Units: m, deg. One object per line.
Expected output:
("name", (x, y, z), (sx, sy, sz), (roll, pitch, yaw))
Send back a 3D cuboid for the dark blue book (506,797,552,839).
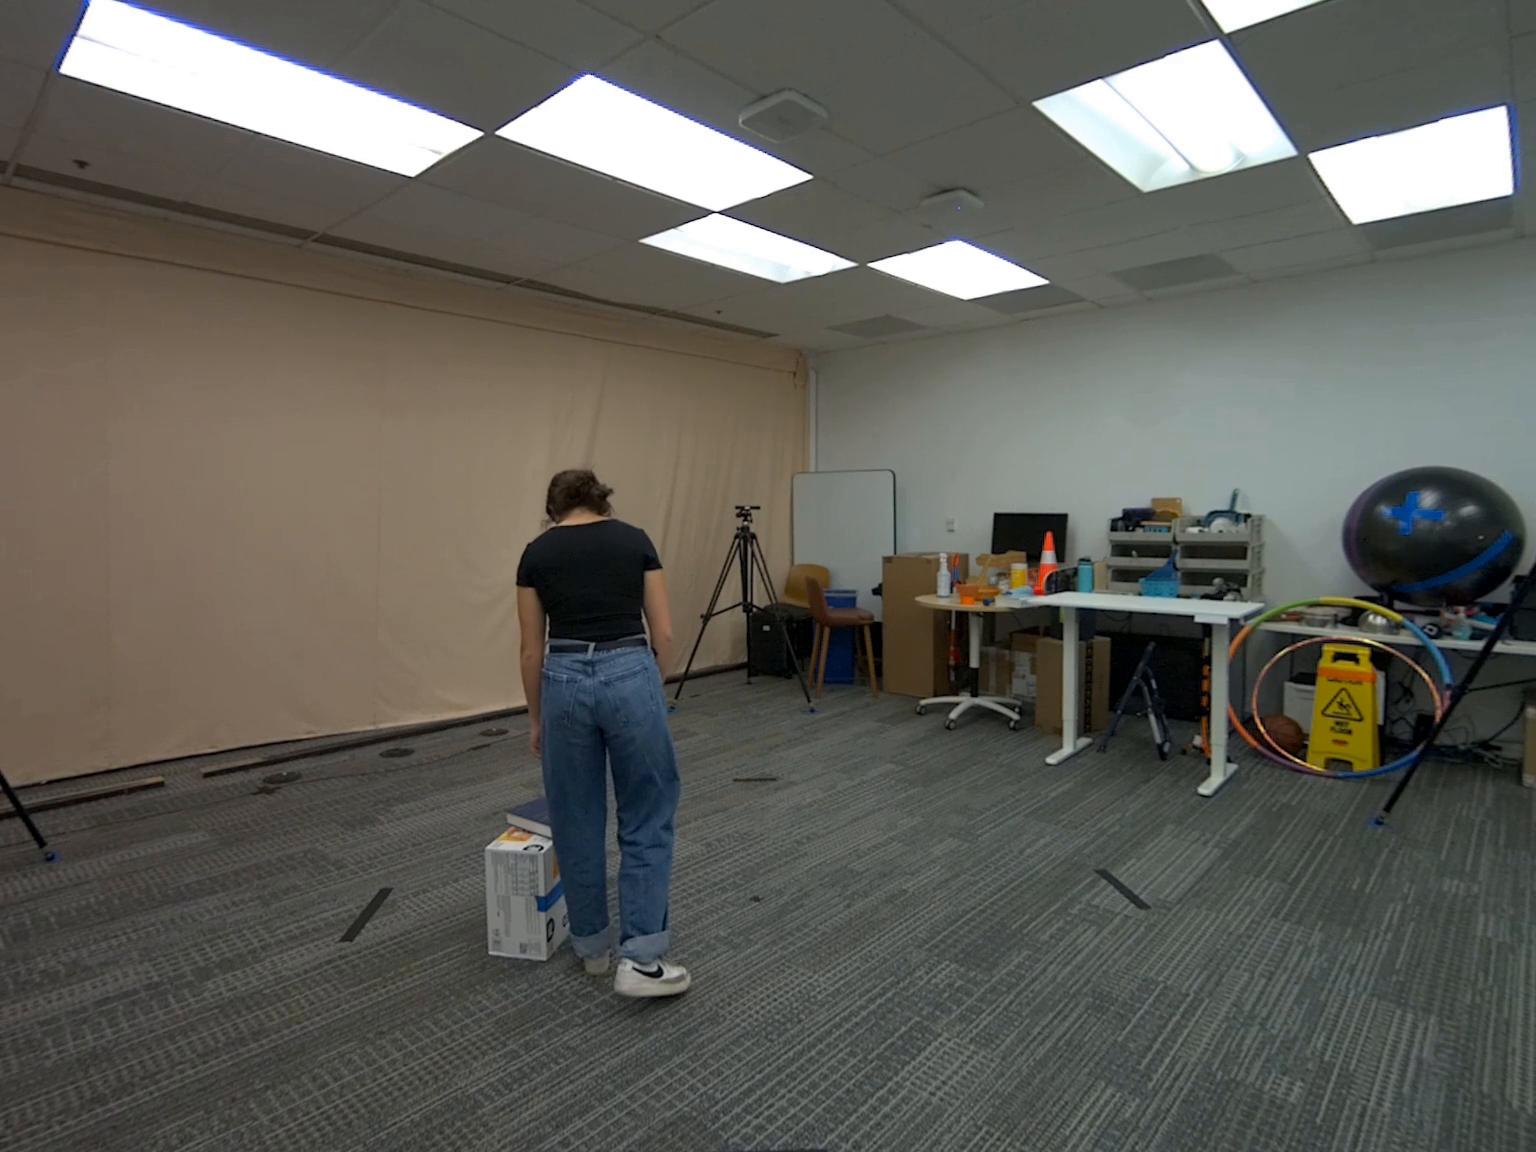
("dark blue book", (-0.737, 0.805, 2.796), (0.253, 0.045, 0.159), (2, 6, 38))
